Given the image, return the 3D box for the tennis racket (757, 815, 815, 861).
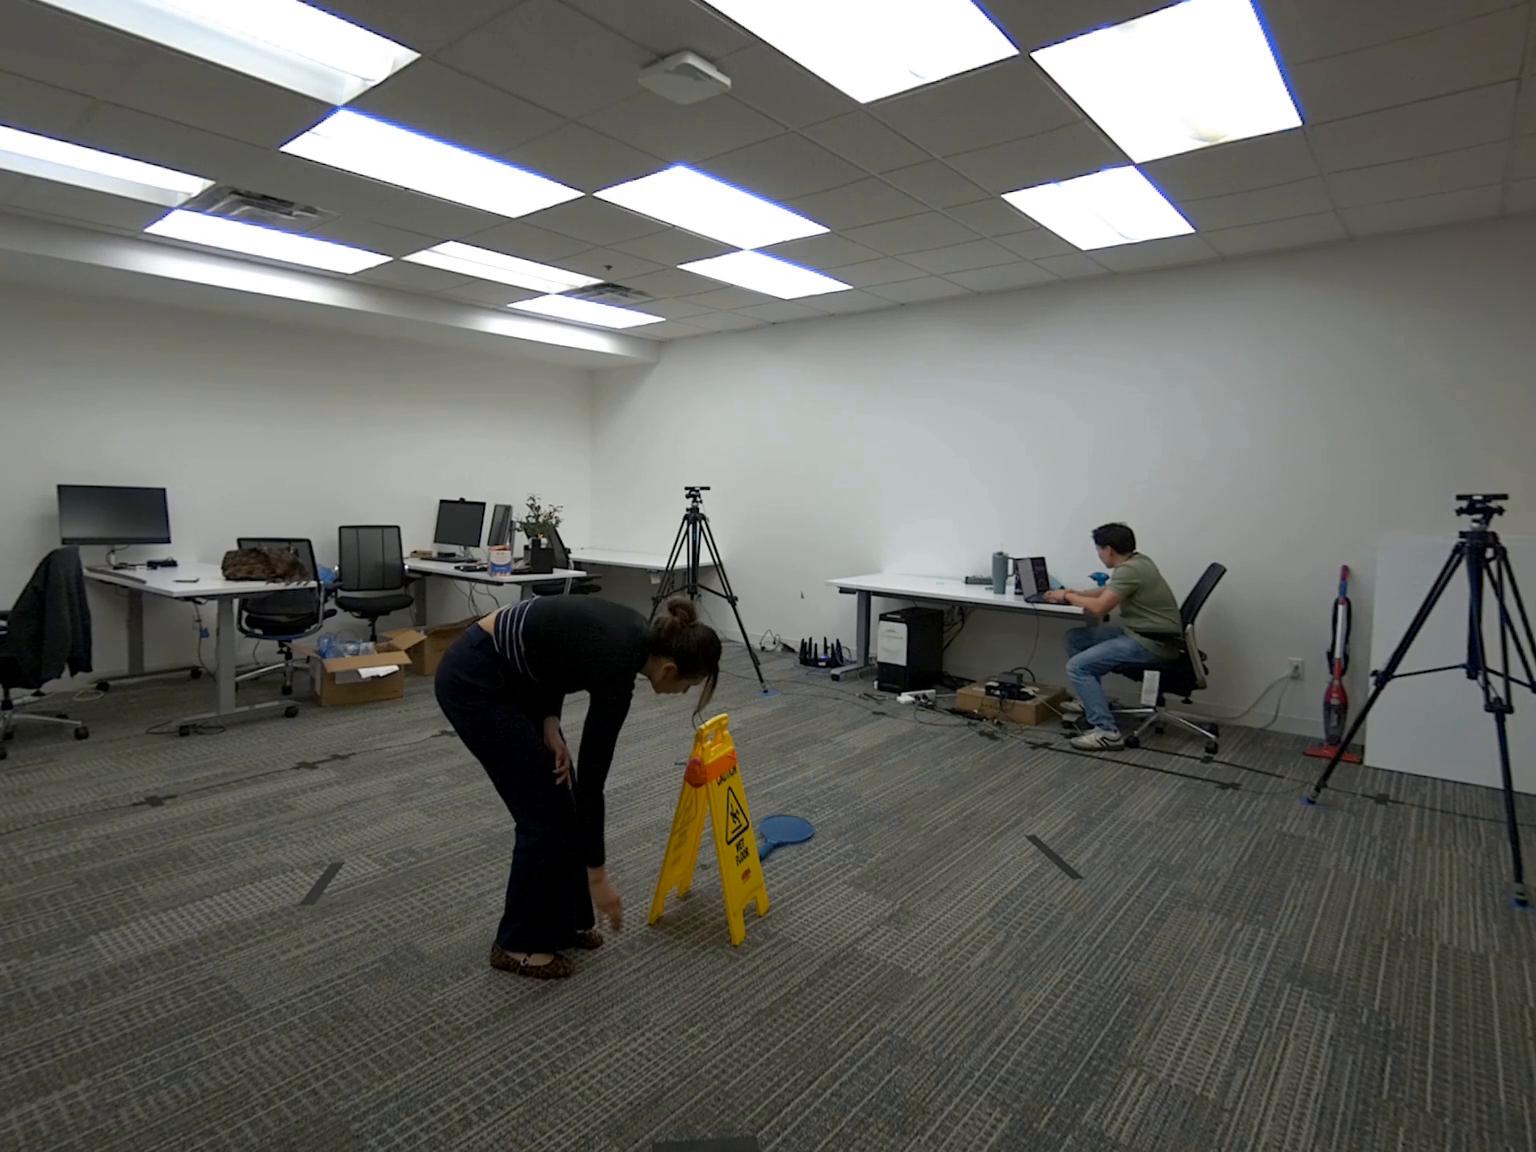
[{"bbox_3d":[0.029,1.029,3.340,0.219,0.031,0.424,5,6,22],"label":"tennis racket"}]
